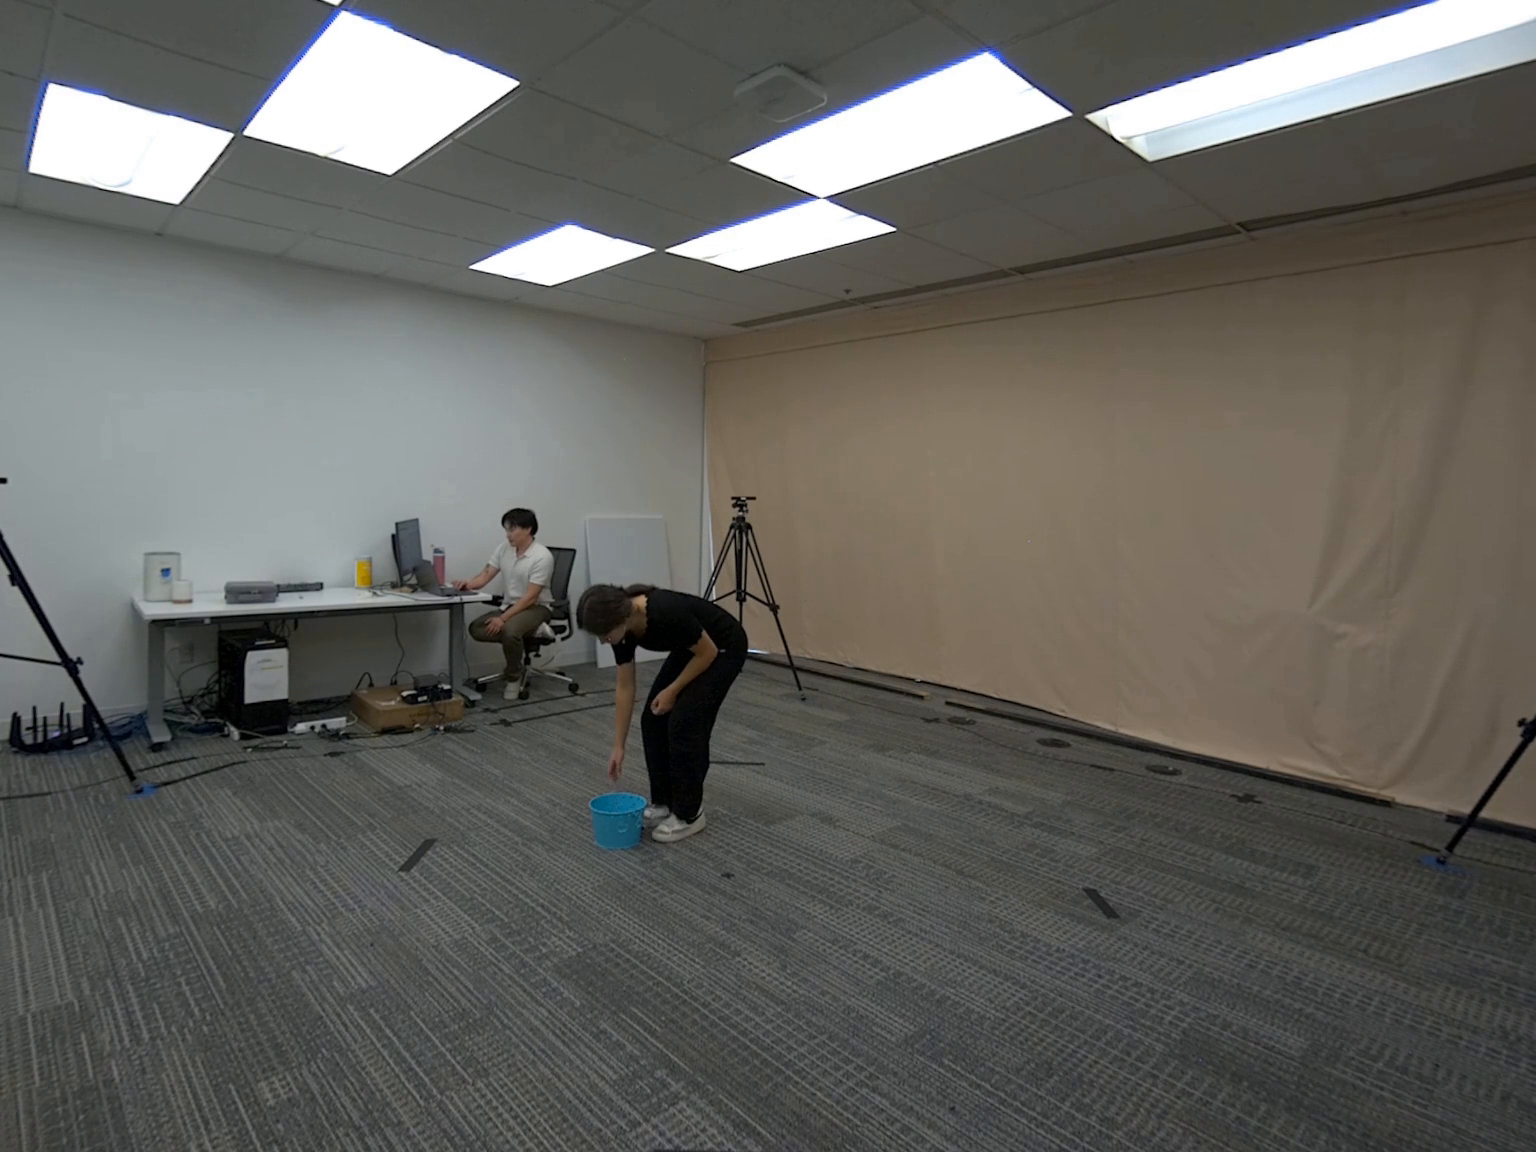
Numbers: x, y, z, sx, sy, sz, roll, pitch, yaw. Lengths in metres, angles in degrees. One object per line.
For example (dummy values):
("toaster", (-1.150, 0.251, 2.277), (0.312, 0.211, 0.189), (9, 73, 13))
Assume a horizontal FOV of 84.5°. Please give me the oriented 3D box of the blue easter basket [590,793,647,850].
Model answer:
("blue easter basket", (-0.607, 0.987, 3.398), (0.243, 0.155, 0.244), (2, 4, -1))
